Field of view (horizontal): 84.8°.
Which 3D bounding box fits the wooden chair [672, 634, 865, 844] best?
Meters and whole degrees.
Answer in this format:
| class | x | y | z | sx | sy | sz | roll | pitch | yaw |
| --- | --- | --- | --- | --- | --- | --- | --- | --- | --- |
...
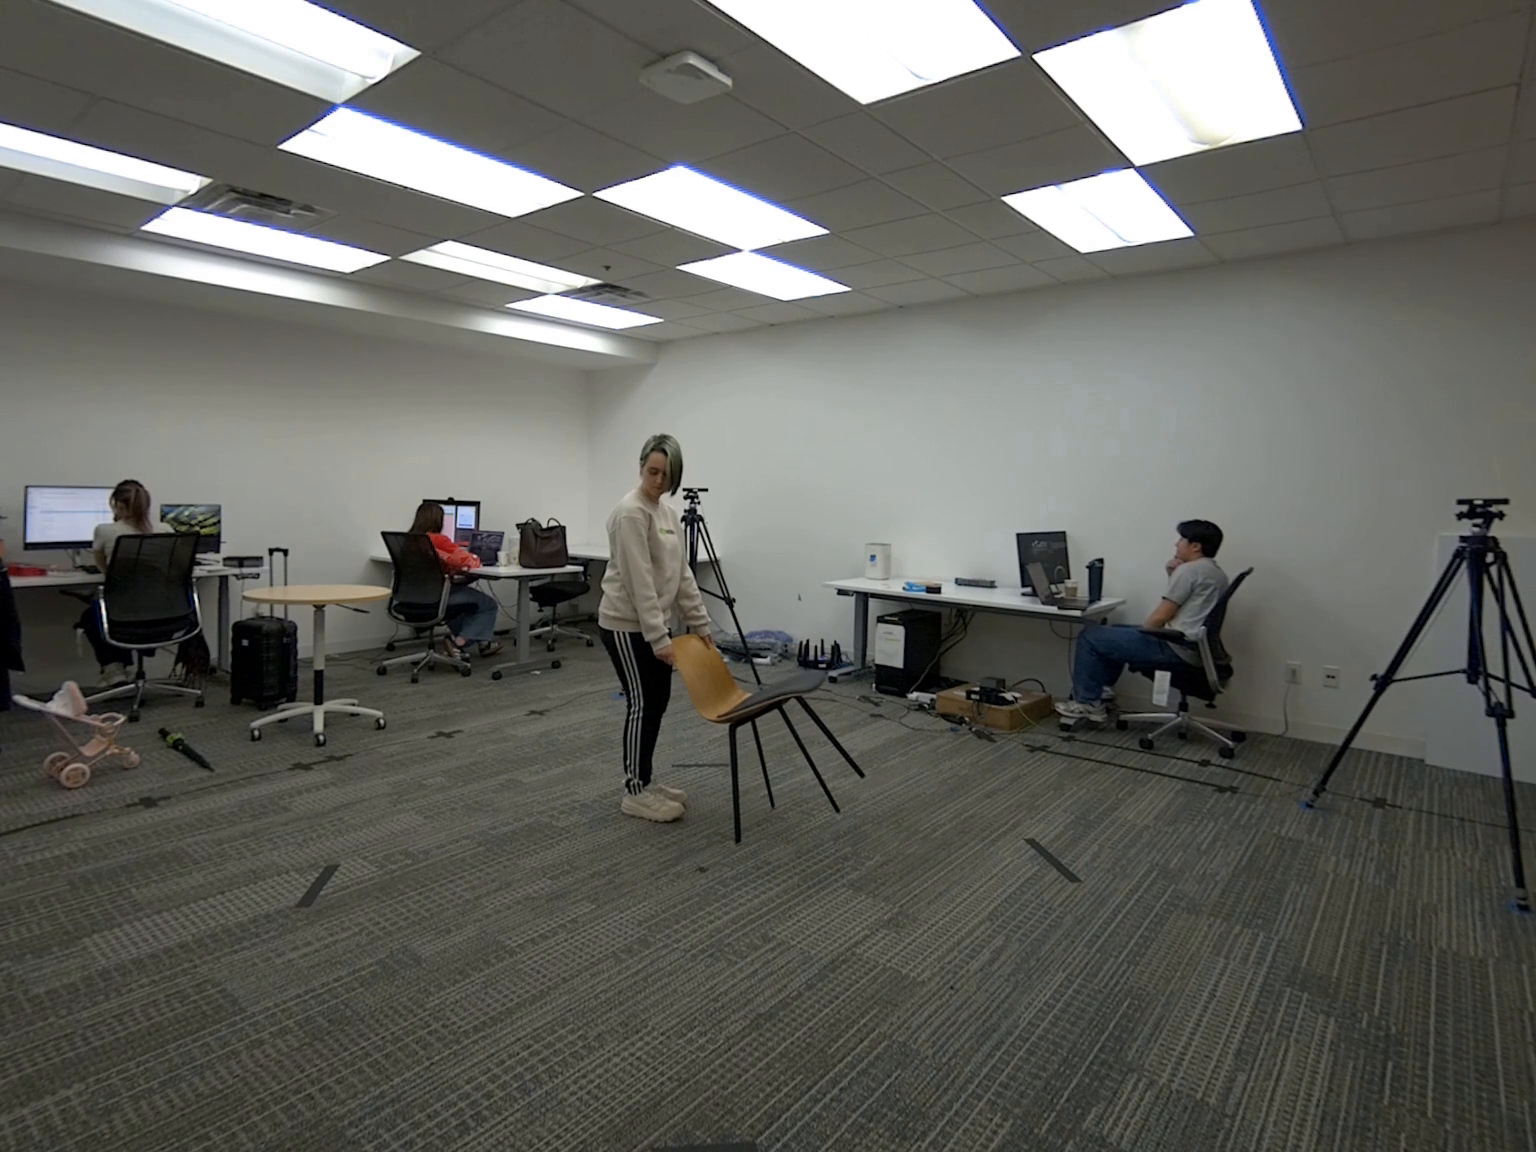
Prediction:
| class | x | y | z | sx | sy | sz | roll | pitch | yaw |
| --- | --- | --- | --- | --- | --- | --- | --- | --- | --- |
| wooden chair | -0.021 | 0.548 | 3.495 | 0.527 | 0.888 | 0.469 | -30 | -8 | 20 |
